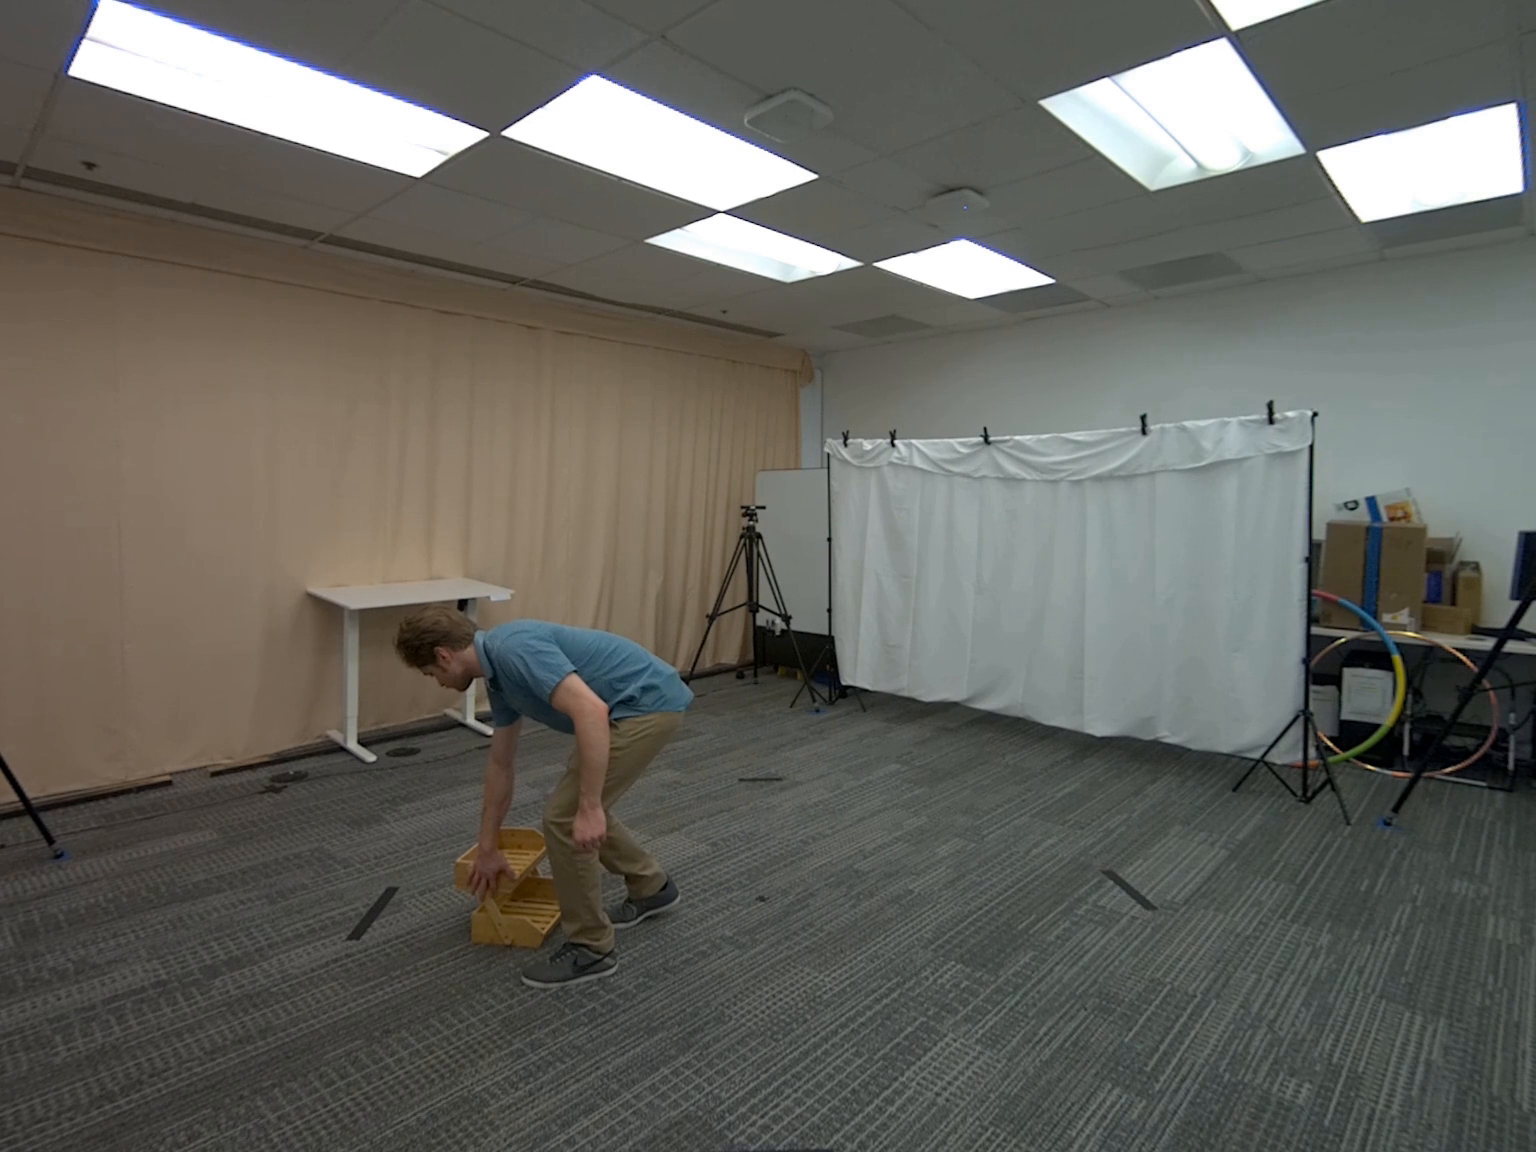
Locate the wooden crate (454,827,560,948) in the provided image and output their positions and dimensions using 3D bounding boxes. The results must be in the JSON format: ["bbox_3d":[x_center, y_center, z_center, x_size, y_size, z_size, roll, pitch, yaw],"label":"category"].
[{"bbox_3d":[-0.828,1.027,2.829,0.305,0.273,0.321,-1,3,10],"label":"wooden crate"}]
